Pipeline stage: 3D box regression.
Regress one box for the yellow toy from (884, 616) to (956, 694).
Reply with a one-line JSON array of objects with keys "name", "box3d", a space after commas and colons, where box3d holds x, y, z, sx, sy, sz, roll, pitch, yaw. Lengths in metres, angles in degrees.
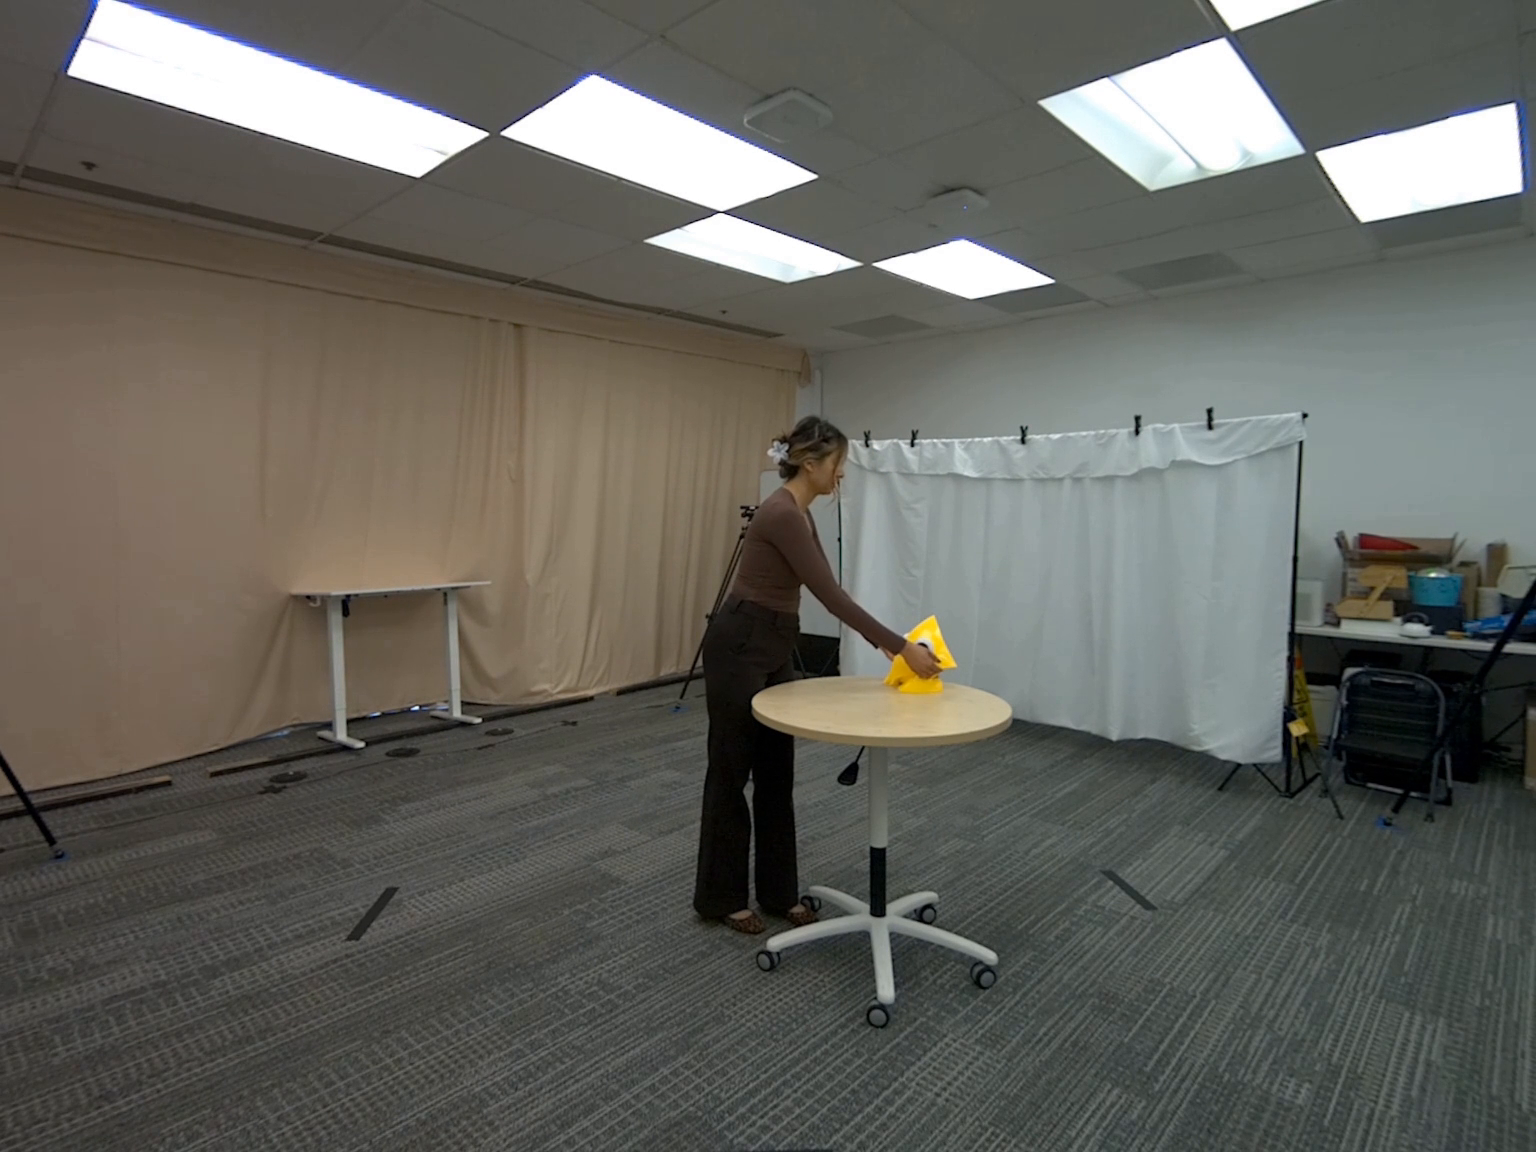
[{"name": "yellow toy", "box3d": [0.495, 0.248, 2.745, 0.190, 0.230, 0.208, 0, 3, -13]}]
